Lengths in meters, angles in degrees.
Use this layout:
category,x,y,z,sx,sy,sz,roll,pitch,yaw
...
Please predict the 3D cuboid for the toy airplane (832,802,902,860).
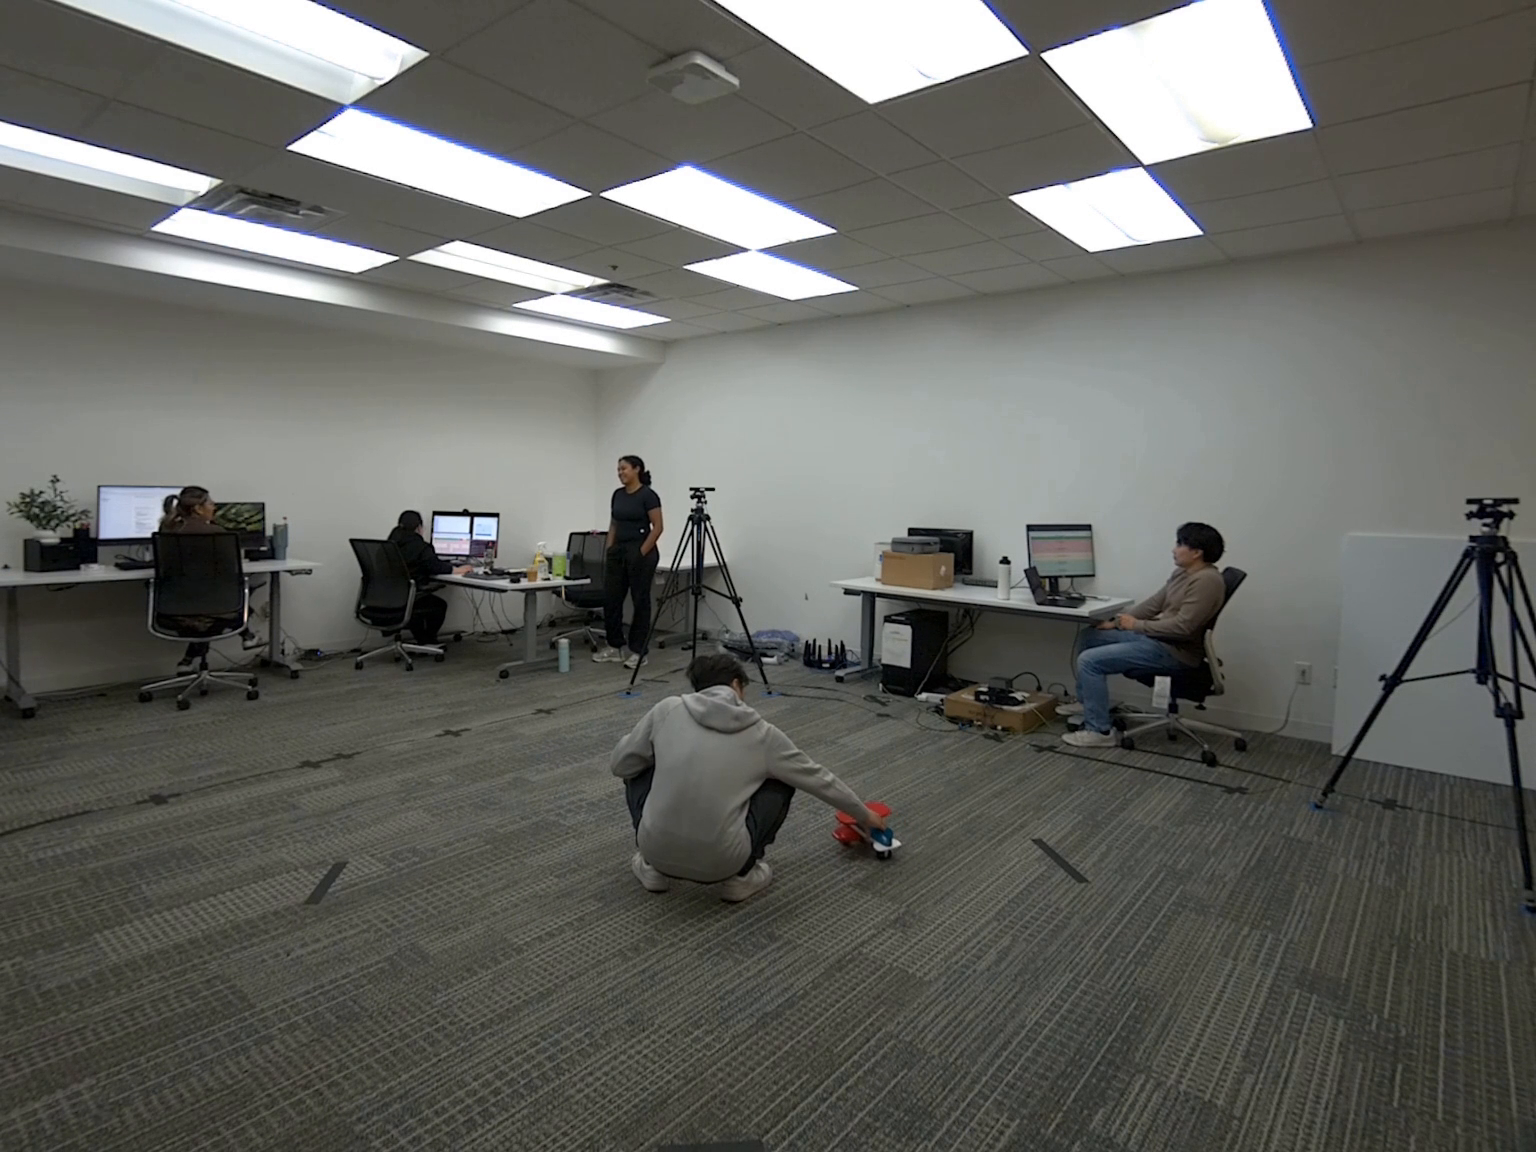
category,x,y,z,sx,sy,sz,roll,pitch,yaw
toy airplane,0.393,0.988,3.315,0.267,0.156,0.244,4,4,31
